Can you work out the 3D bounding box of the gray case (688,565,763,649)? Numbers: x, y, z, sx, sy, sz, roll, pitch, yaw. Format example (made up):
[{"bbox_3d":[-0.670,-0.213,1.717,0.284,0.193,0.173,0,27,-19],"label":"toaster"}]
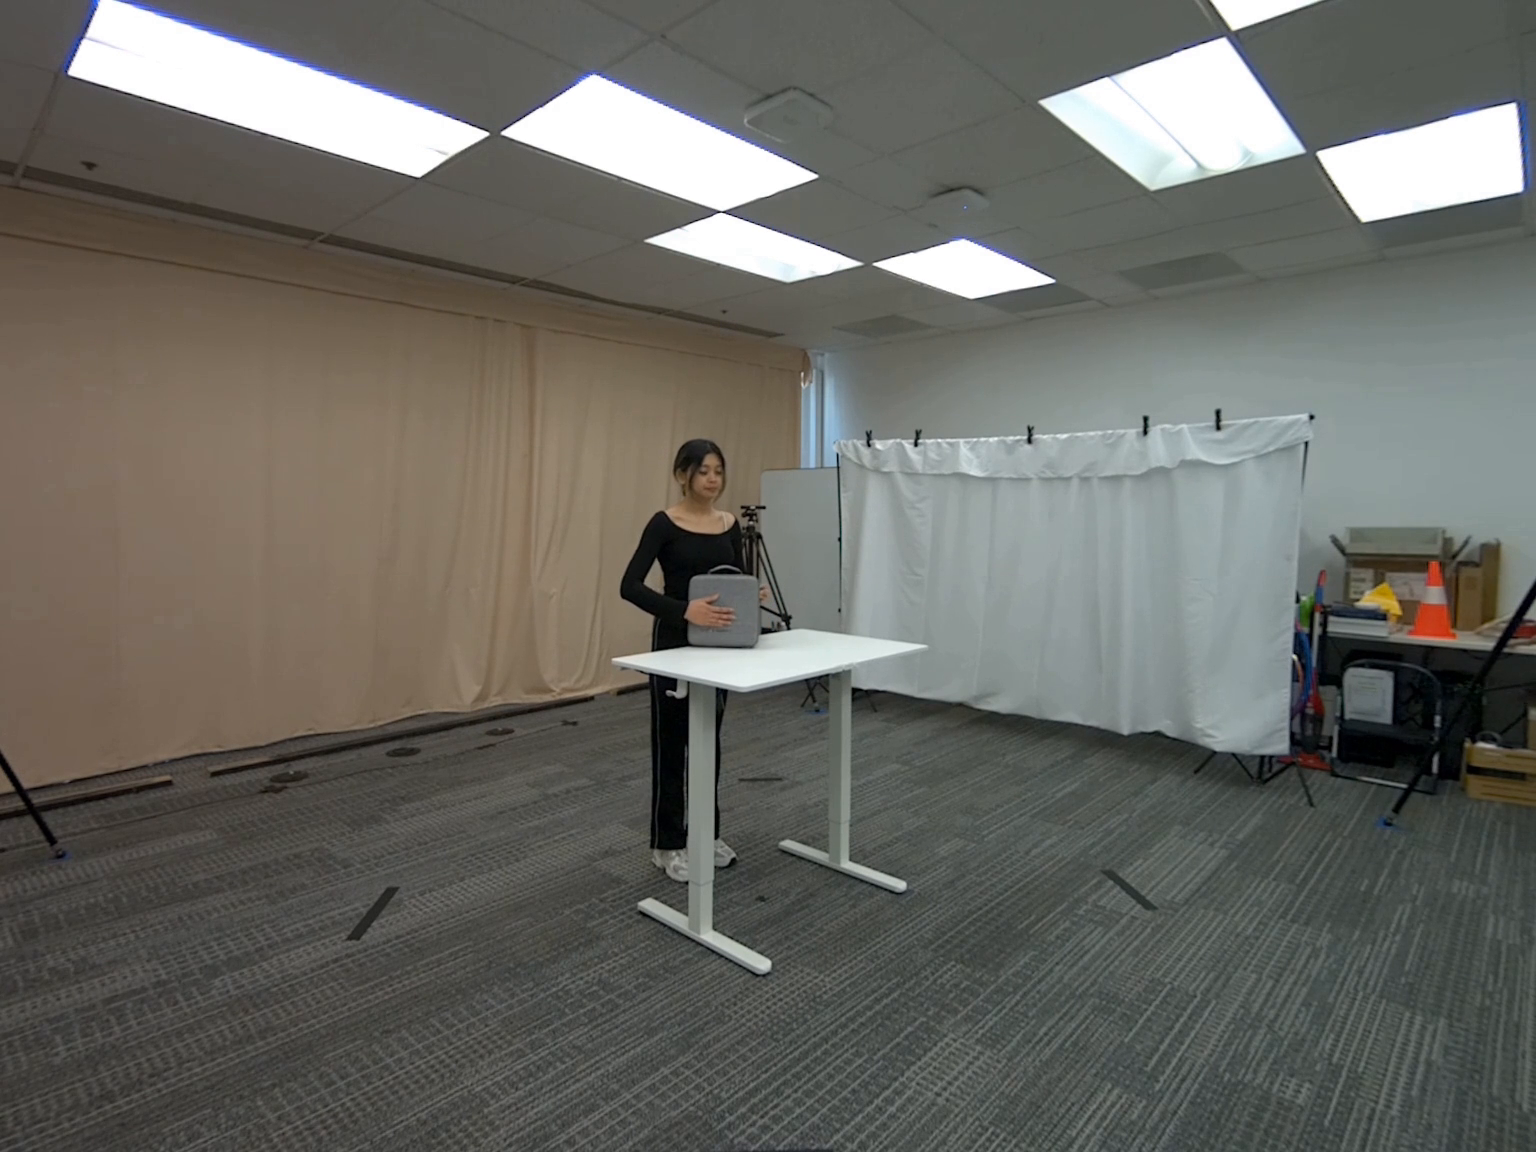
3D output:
[{"bbox_3d":[-0.161,0.125,3.050,0.259,0.261,0.103,1,-6,9],"label":"gray case"}]
